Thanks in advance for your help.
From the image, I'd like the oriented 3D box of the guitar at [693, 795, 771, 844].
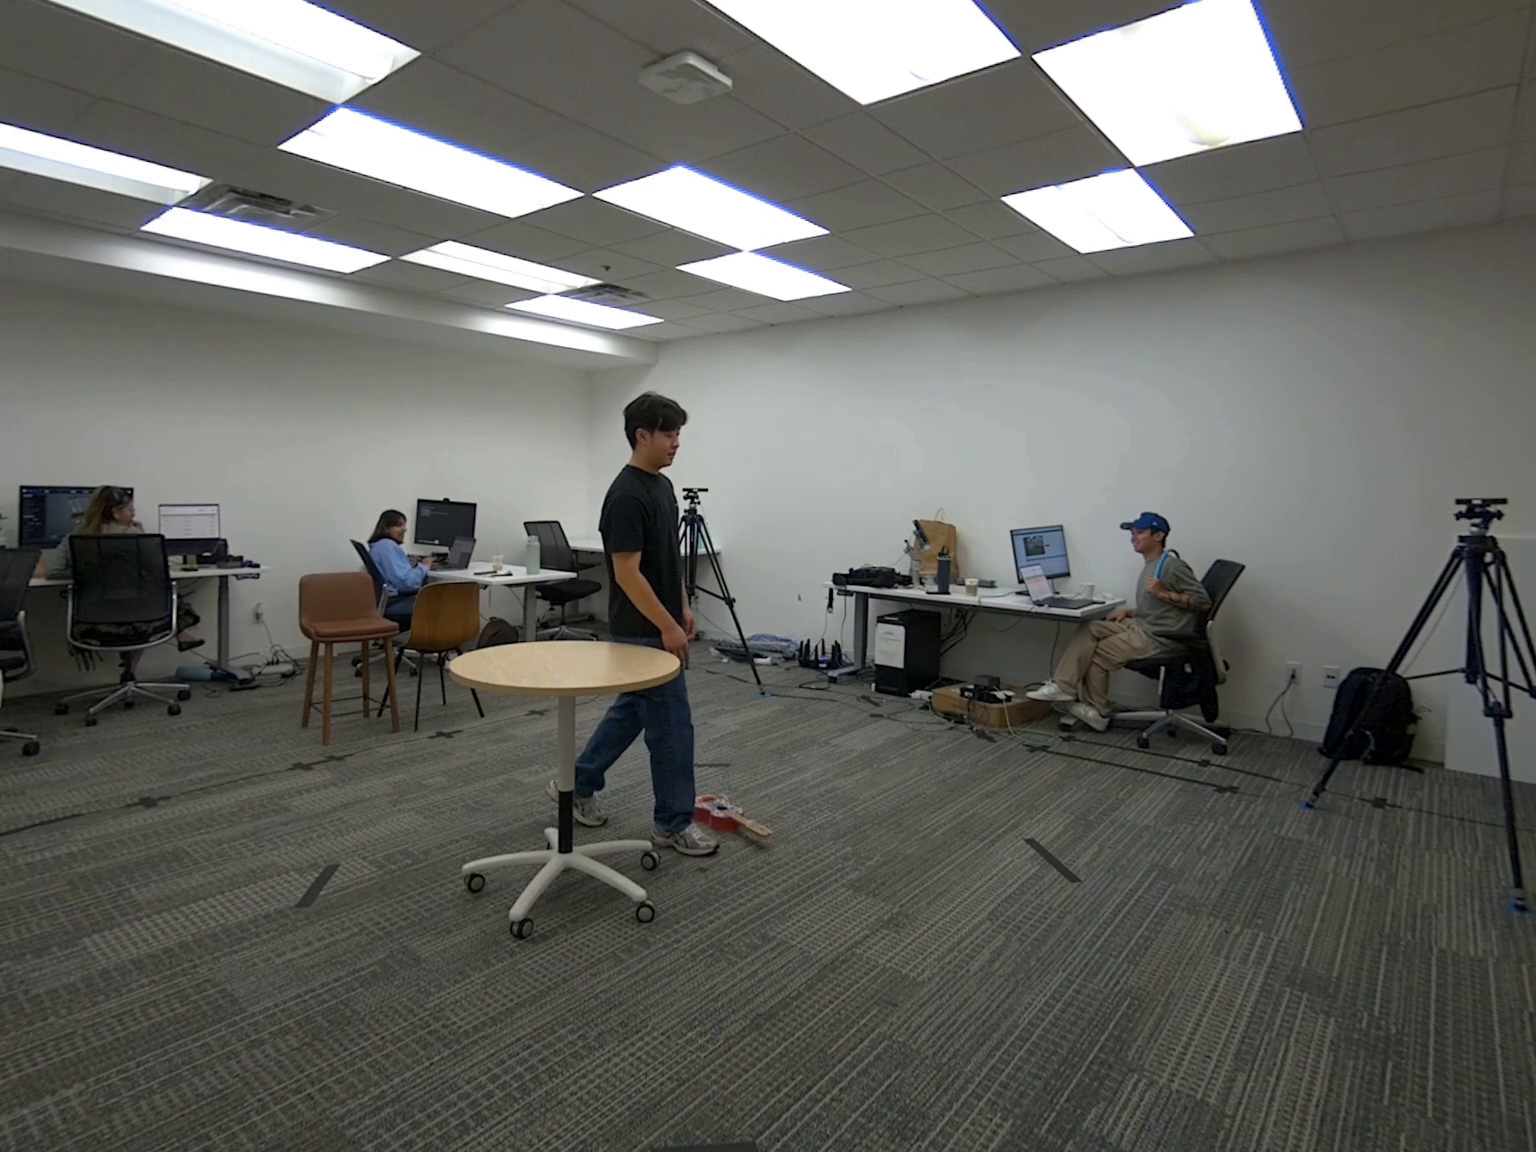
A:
[{"bbox_3d":[-0.180,1.000,3.479,0.188,0.070,0.512,-1,6,-28],"label":"guitar"}]
